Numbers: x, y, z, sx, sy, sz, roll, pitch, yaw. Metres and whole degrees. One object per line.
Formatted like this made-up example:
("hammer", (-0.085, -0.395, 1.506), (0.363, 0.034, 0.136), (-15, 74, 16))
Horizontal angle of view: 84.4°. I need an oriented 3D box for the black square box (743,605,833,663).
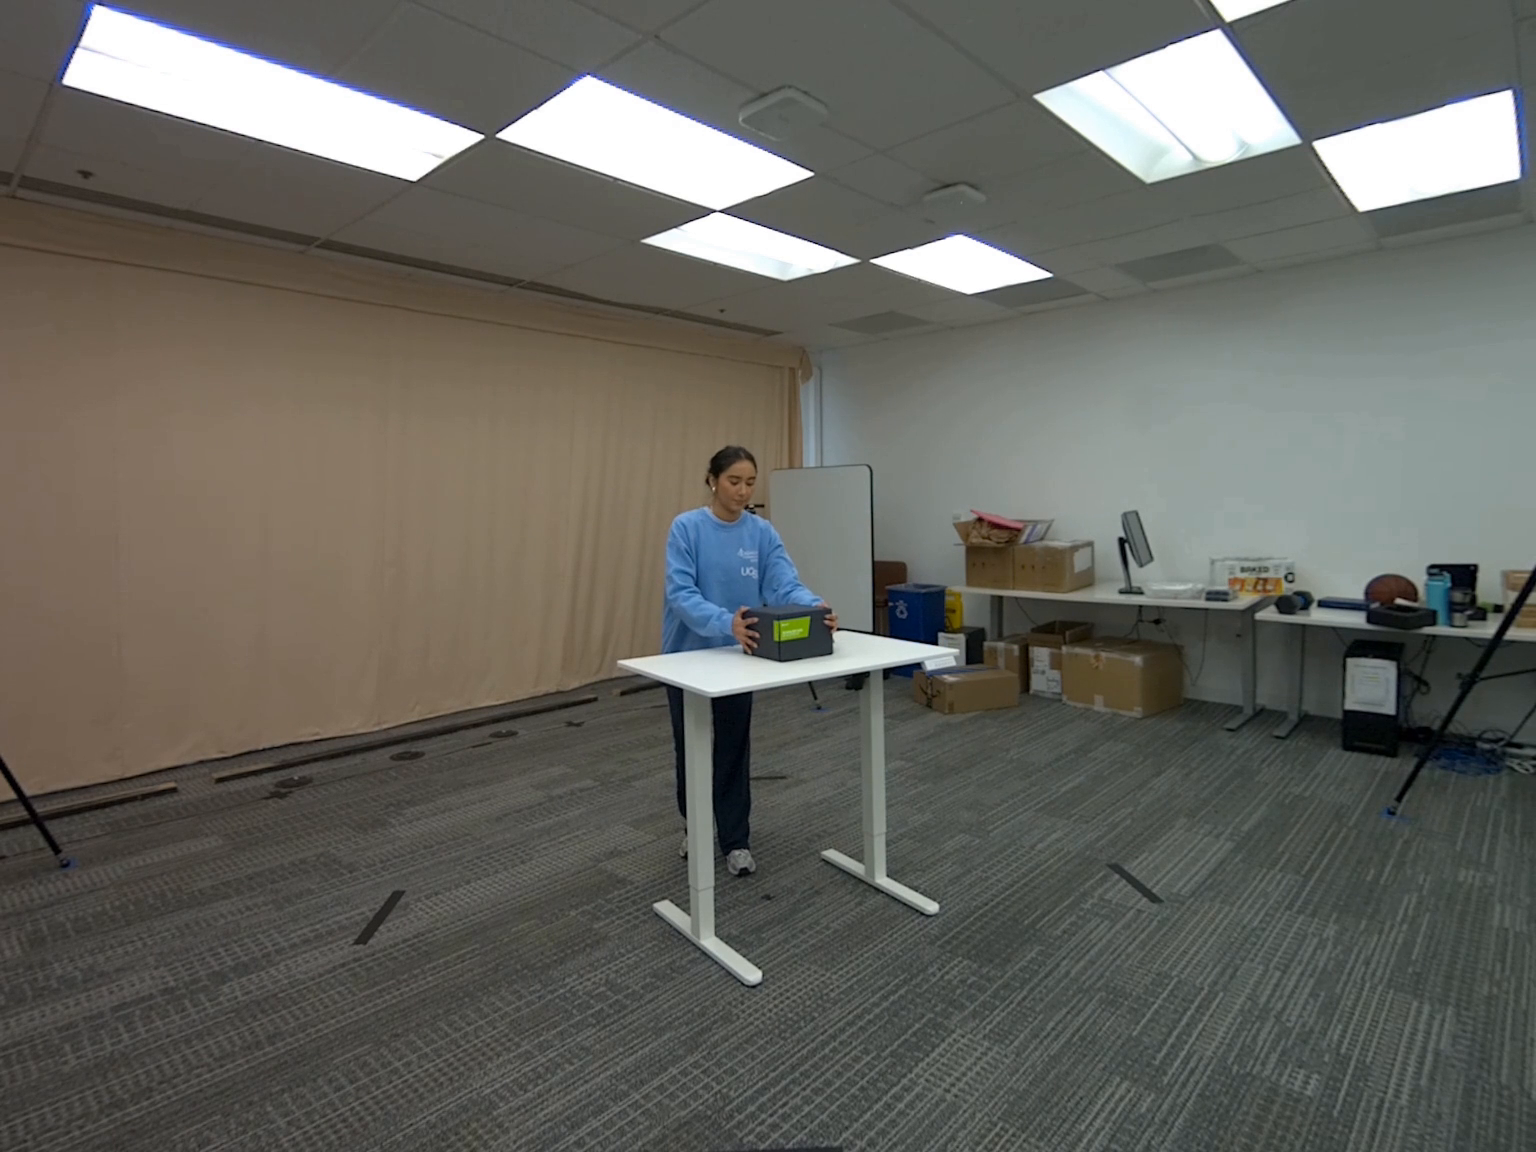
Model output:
("black square box", (0.067, 0.189, 2.863), (0.221, 0.155, 0.223), (-4, 4, -33))
